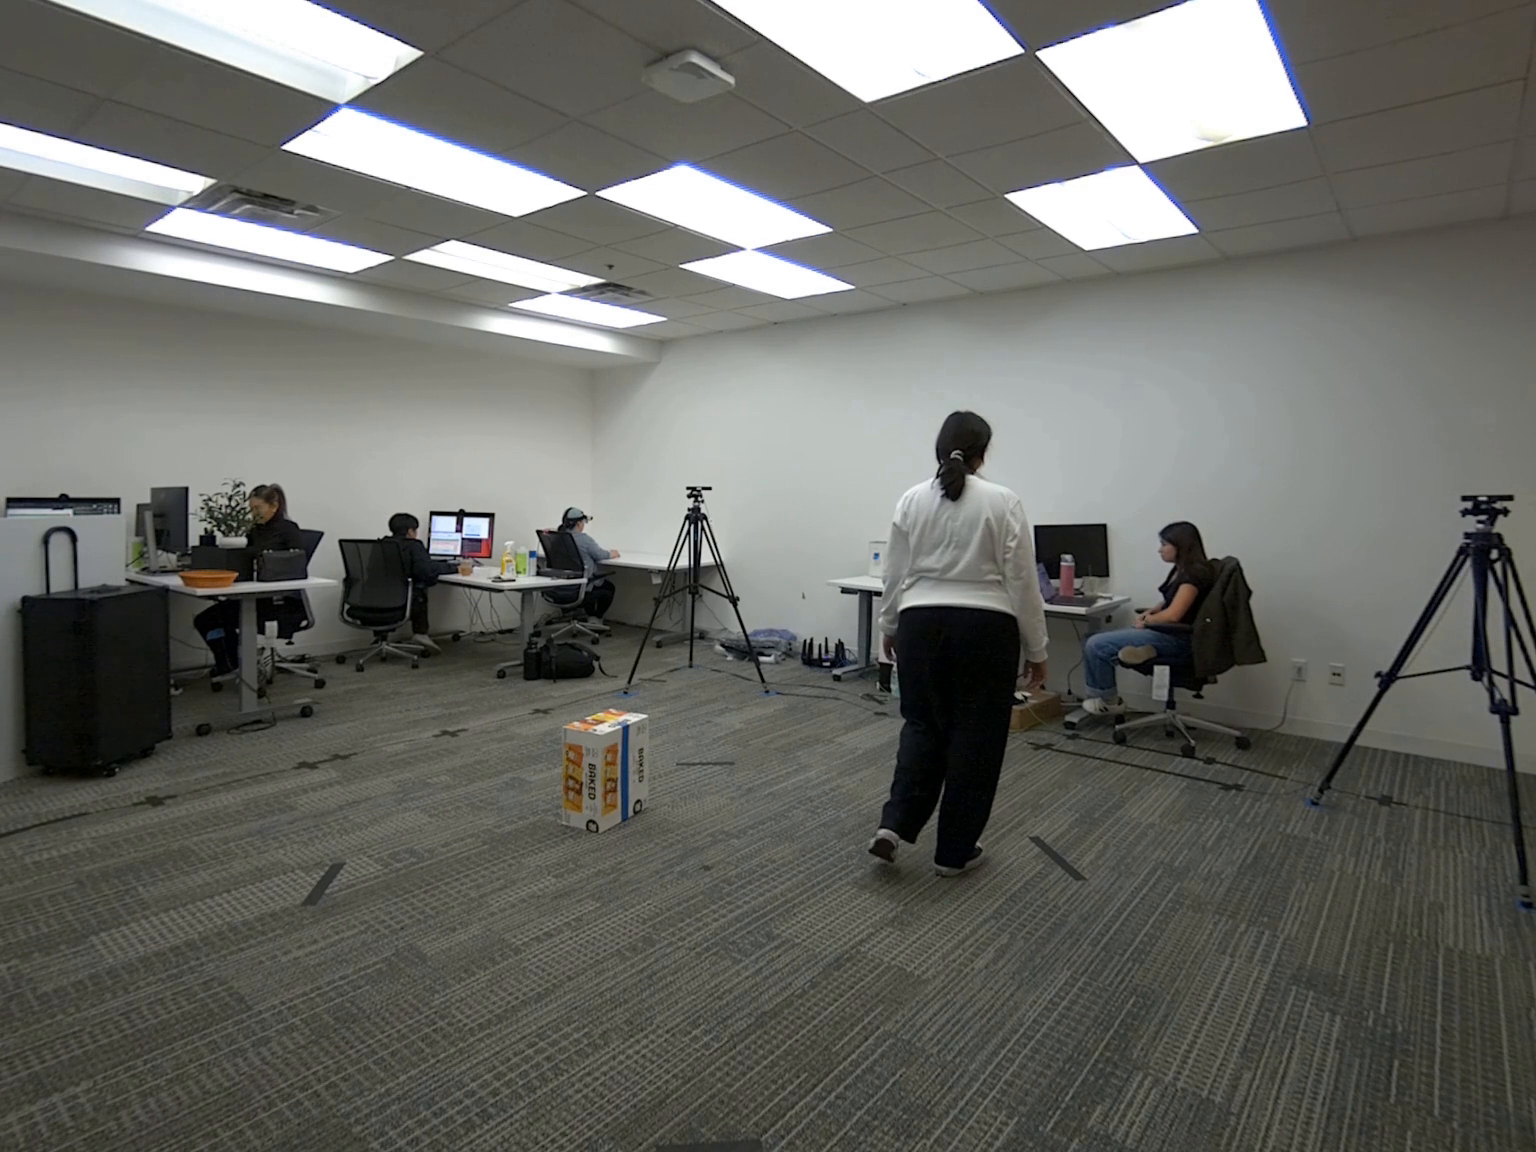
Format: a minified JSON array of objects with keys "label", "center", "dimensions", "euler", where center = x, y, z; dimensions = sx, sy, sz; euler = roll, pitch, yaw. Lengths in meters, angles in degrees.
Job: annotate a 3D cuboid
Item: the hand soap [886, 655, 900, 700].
[{"label":"hand soap","center":[0.518,0.405,3.432],"dimensions":[0.043,0.166,0.086],"euler":[-4,11,-14]}]
